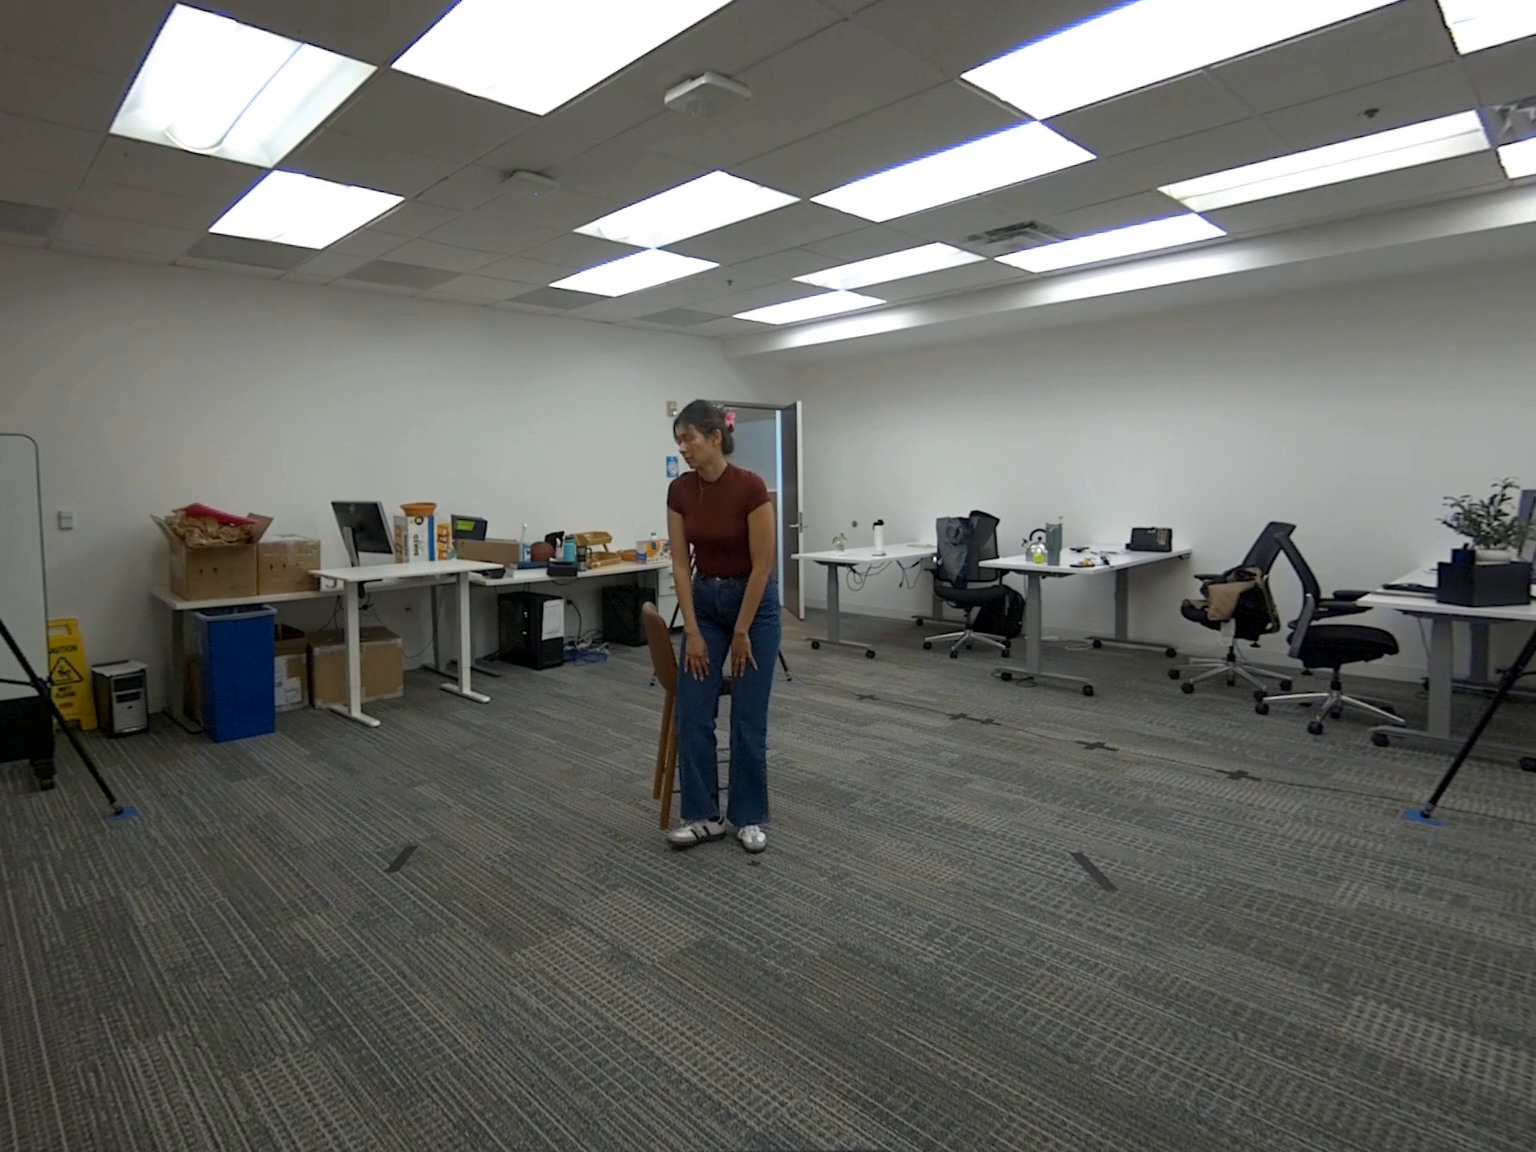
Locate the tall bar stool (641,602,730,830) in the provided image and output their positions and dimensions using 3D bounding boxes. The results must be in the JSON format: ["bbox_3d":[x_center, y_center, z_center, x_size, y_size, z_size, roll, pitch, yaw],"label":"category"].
[{"bbox_3d":[-0.272,0.560,3.630,0.463,0.887,0.462,-4,3,-11],"label":"tall bar stool"}]
